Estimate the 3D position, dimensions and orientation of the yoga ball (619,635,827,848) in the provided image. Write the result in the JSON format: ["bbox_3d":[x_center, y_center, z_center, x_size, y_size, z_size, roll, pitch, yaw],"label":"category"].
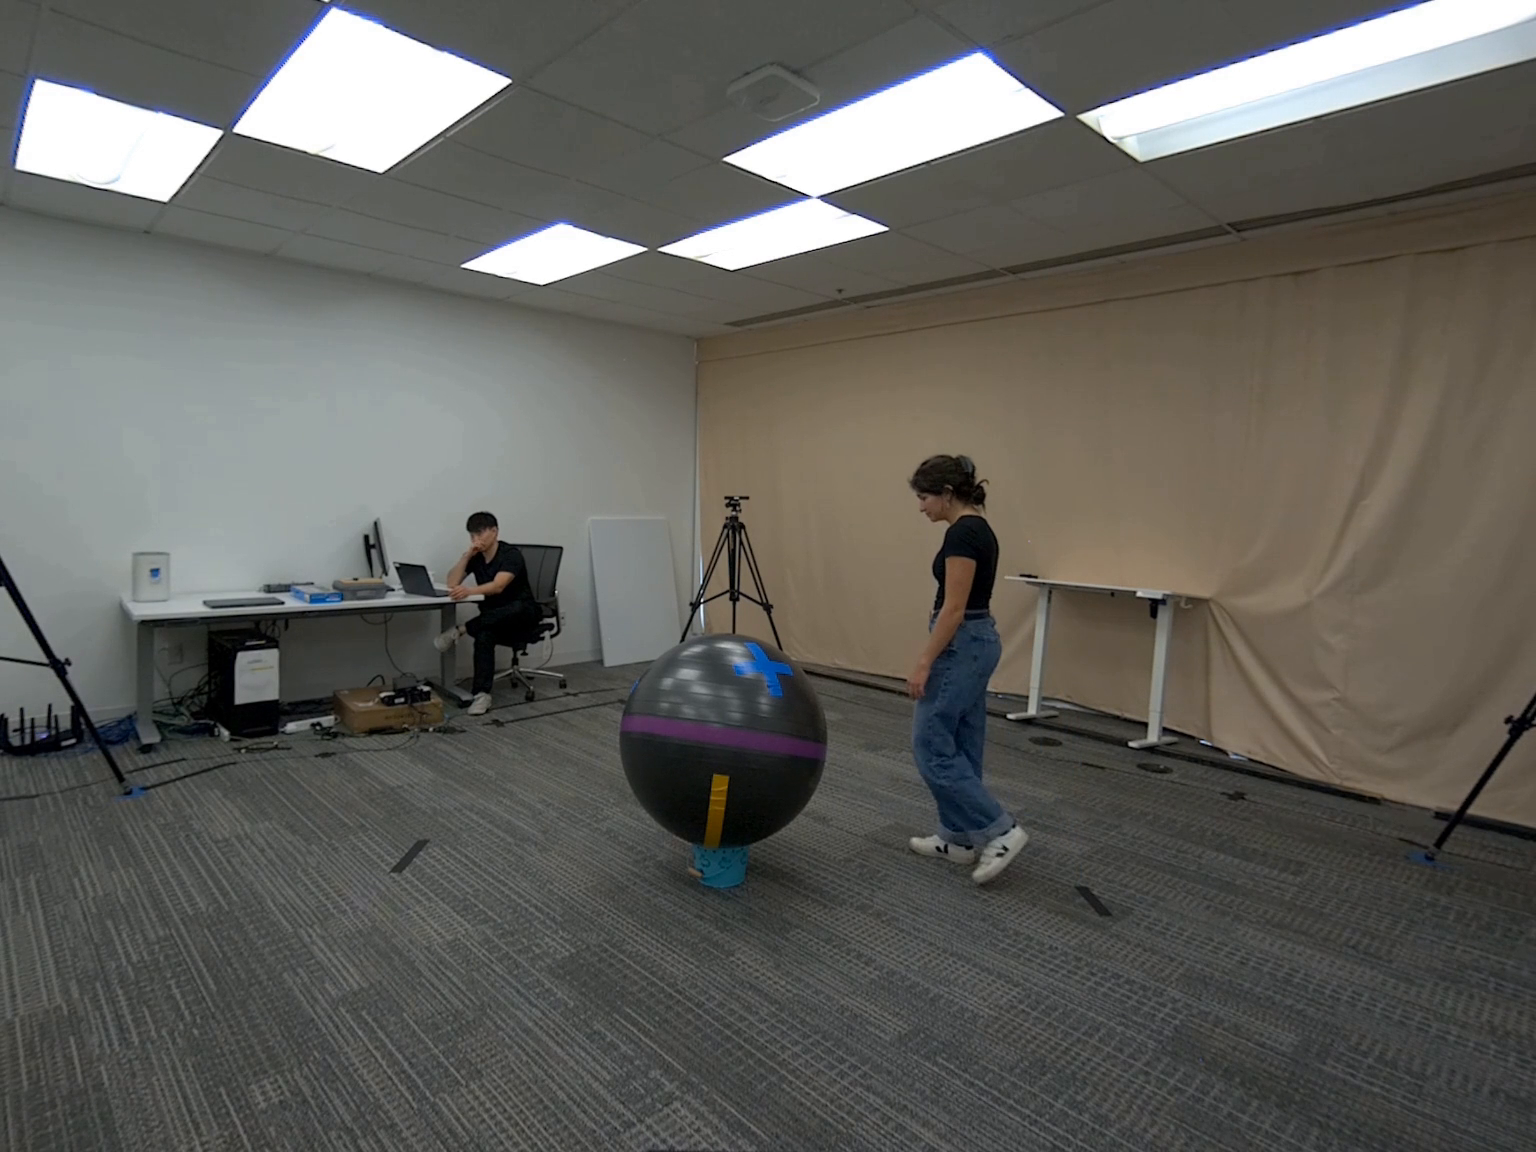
[{"bbox_3d":[-0.168,0.598,3.085,0.757,0.756,0.761,1,4,-1],"label":"yoga ball"}]
